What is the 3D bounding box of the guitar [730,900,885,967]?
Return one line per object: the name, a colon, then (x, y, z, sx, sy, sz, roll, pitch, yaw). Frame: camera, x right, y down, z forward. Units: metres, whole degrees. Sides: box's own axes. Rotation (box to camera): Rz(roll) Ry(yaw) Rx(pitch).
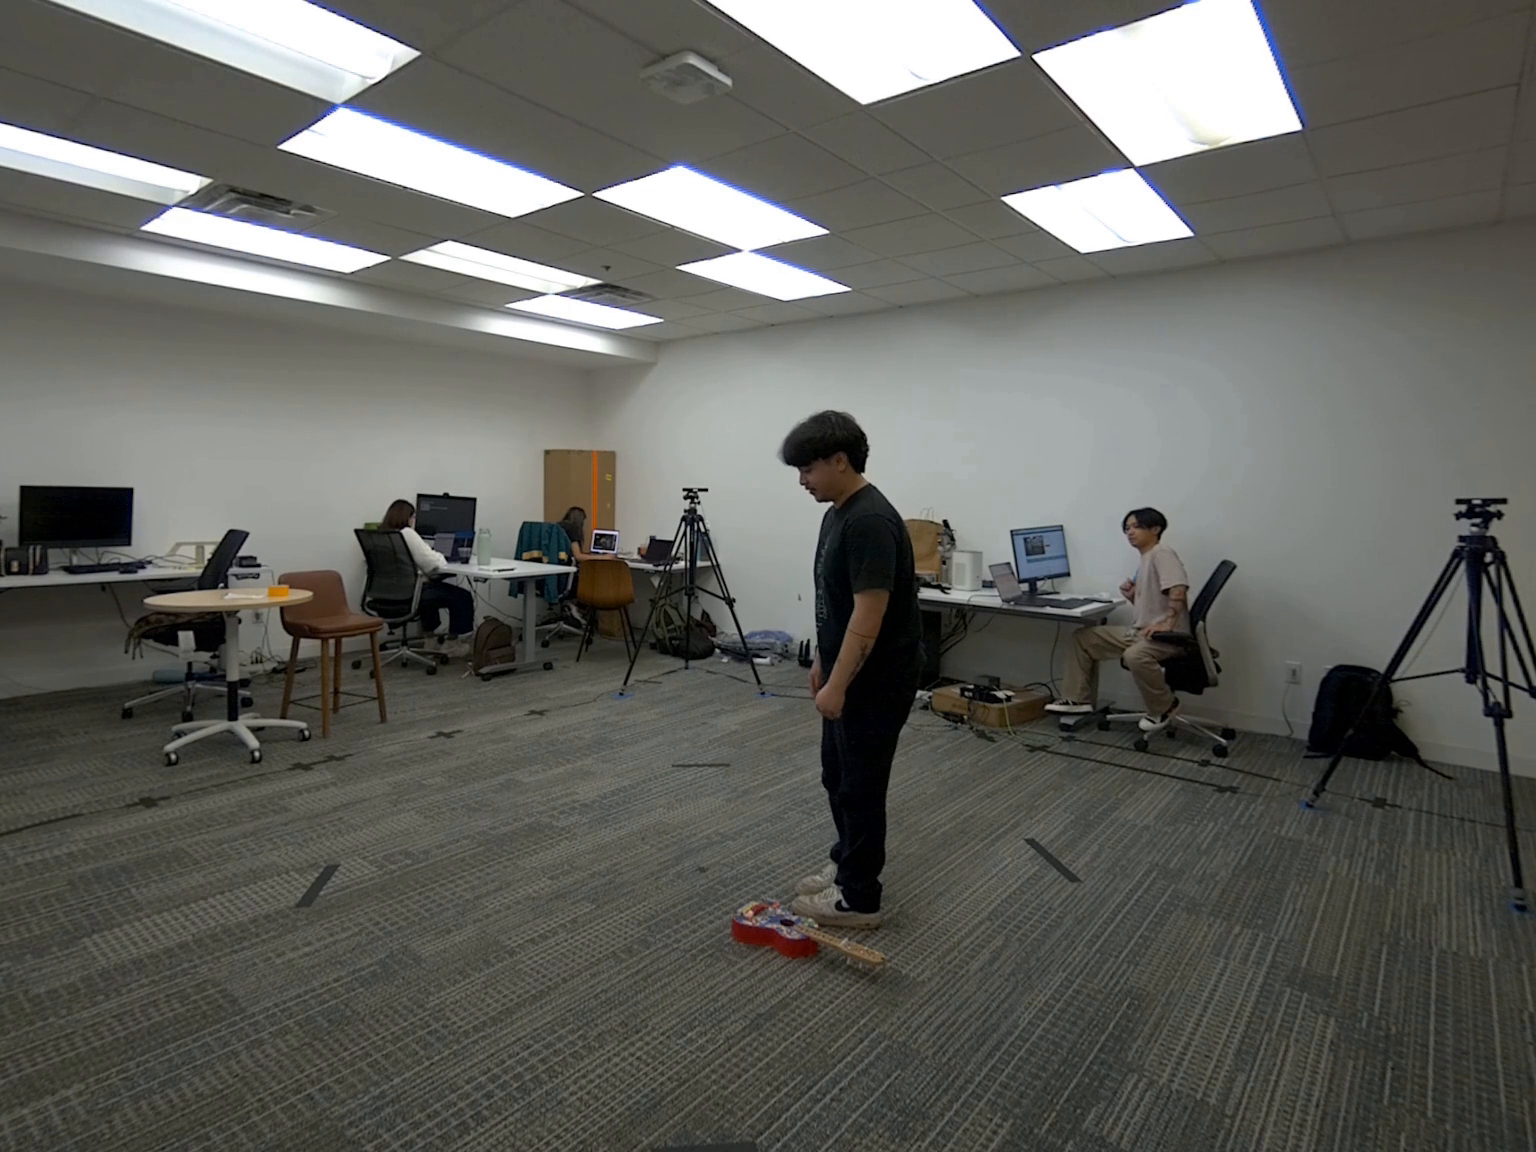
guitar: (0.096, 1.096, 2.550, 0.515, 0.070, 0.187, 6, 7, 45)
